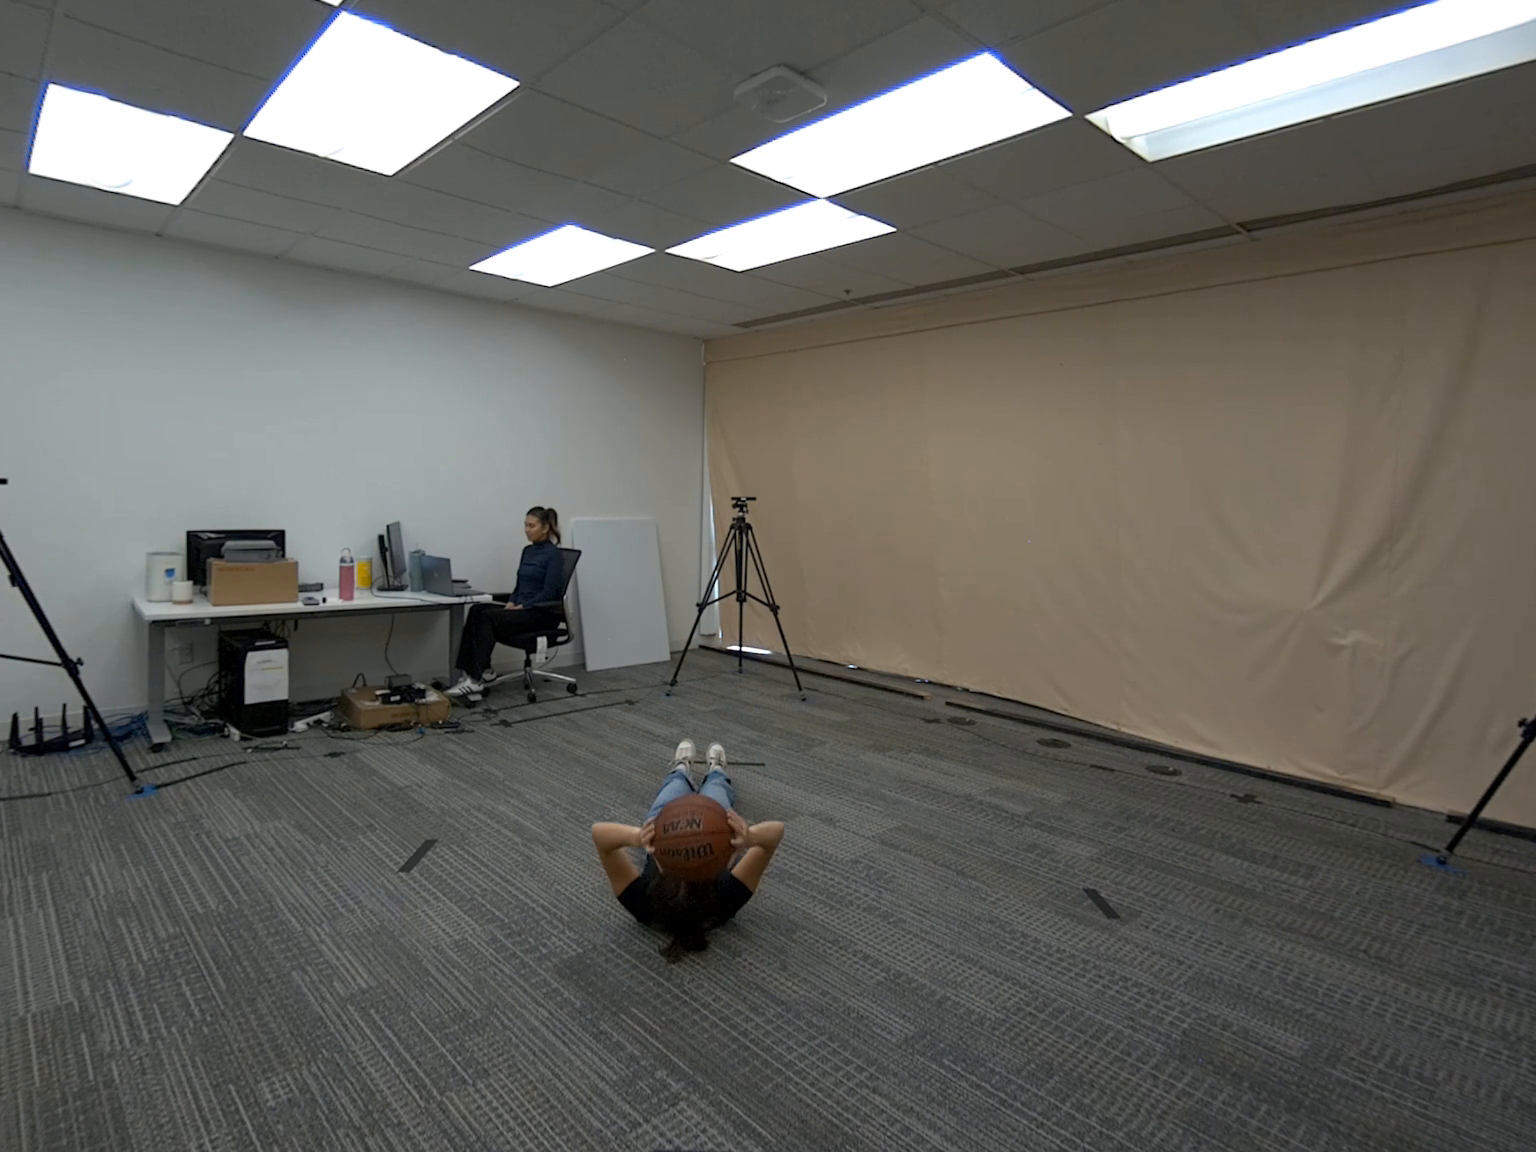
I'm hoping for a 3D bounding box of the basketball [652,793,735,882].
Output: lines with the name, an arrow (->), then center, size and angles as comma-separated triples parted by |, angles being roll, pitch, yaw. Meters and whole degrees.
basketball -> -0.219, 0.749, 2.399 | 0.236, 0.235, 0.237 | 1, 4, -1
